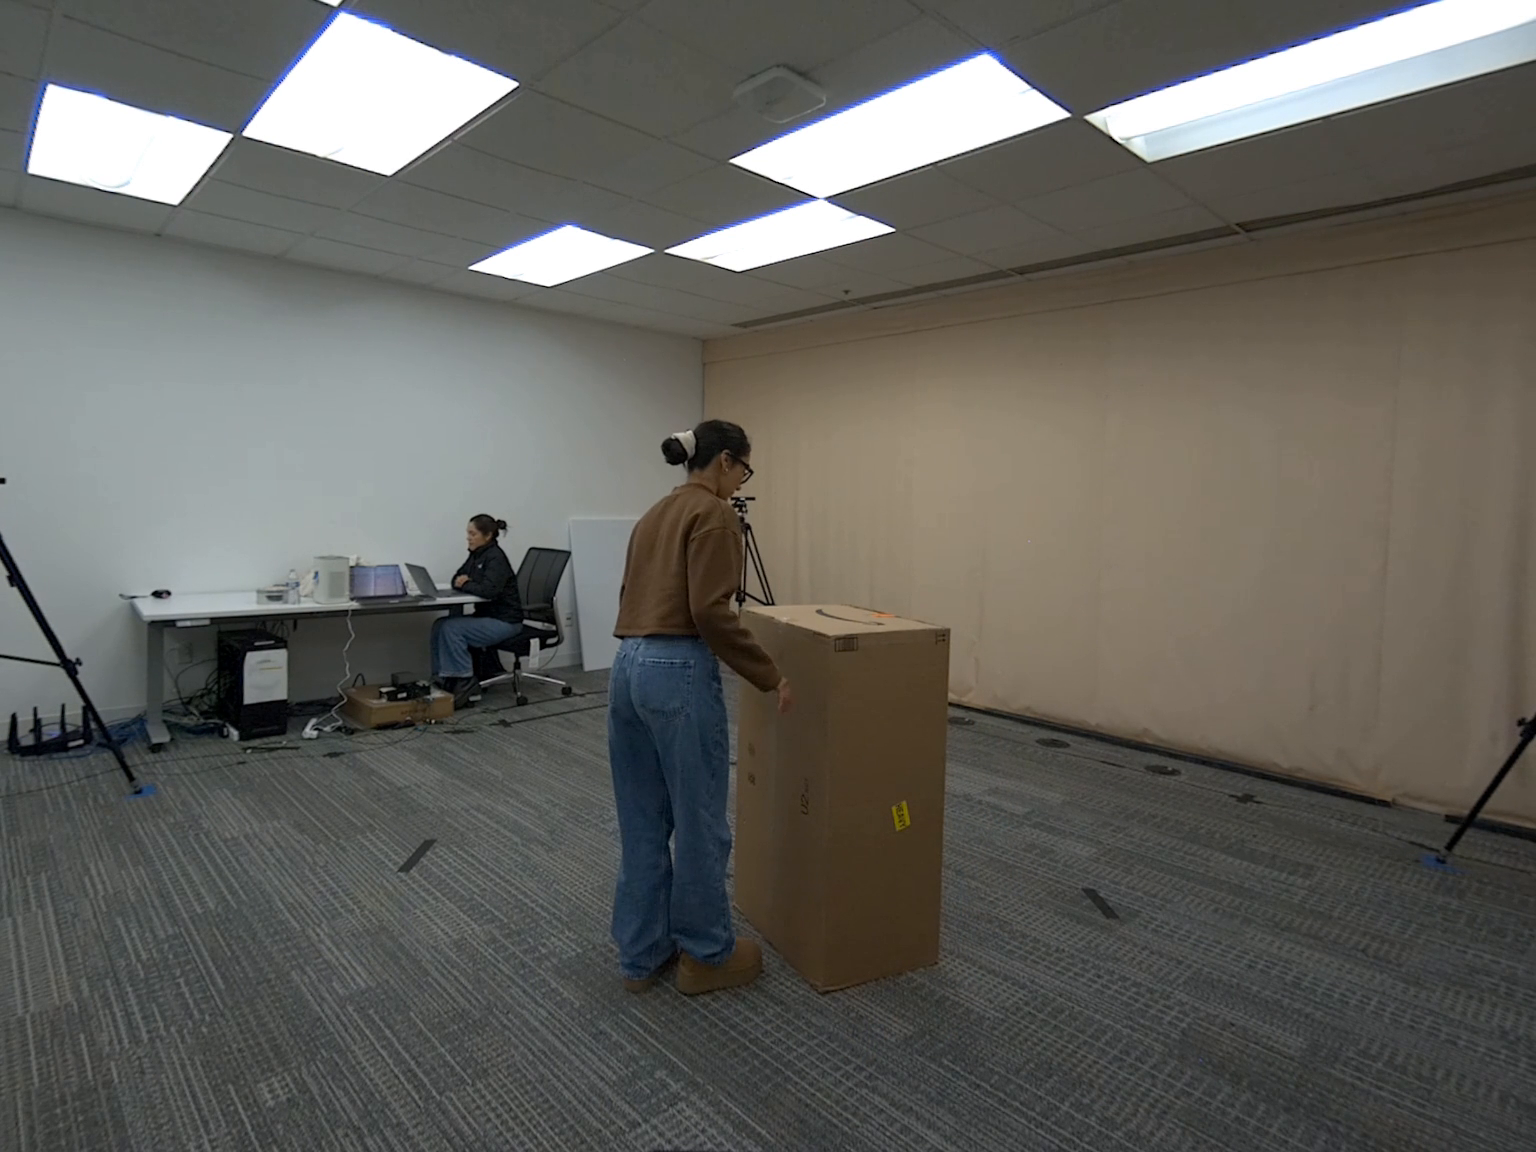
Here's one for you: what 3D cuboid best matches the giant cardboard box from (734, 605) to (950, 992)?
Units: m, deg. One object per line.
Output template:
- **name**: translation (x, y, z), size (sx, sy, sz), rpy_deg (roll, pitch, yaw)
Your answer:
- **giant cardboard box**: translation (0.213, 0.642, 2.694), size (0.418, 1.024, 0.590), rpy_deg (0, 3, -29)
